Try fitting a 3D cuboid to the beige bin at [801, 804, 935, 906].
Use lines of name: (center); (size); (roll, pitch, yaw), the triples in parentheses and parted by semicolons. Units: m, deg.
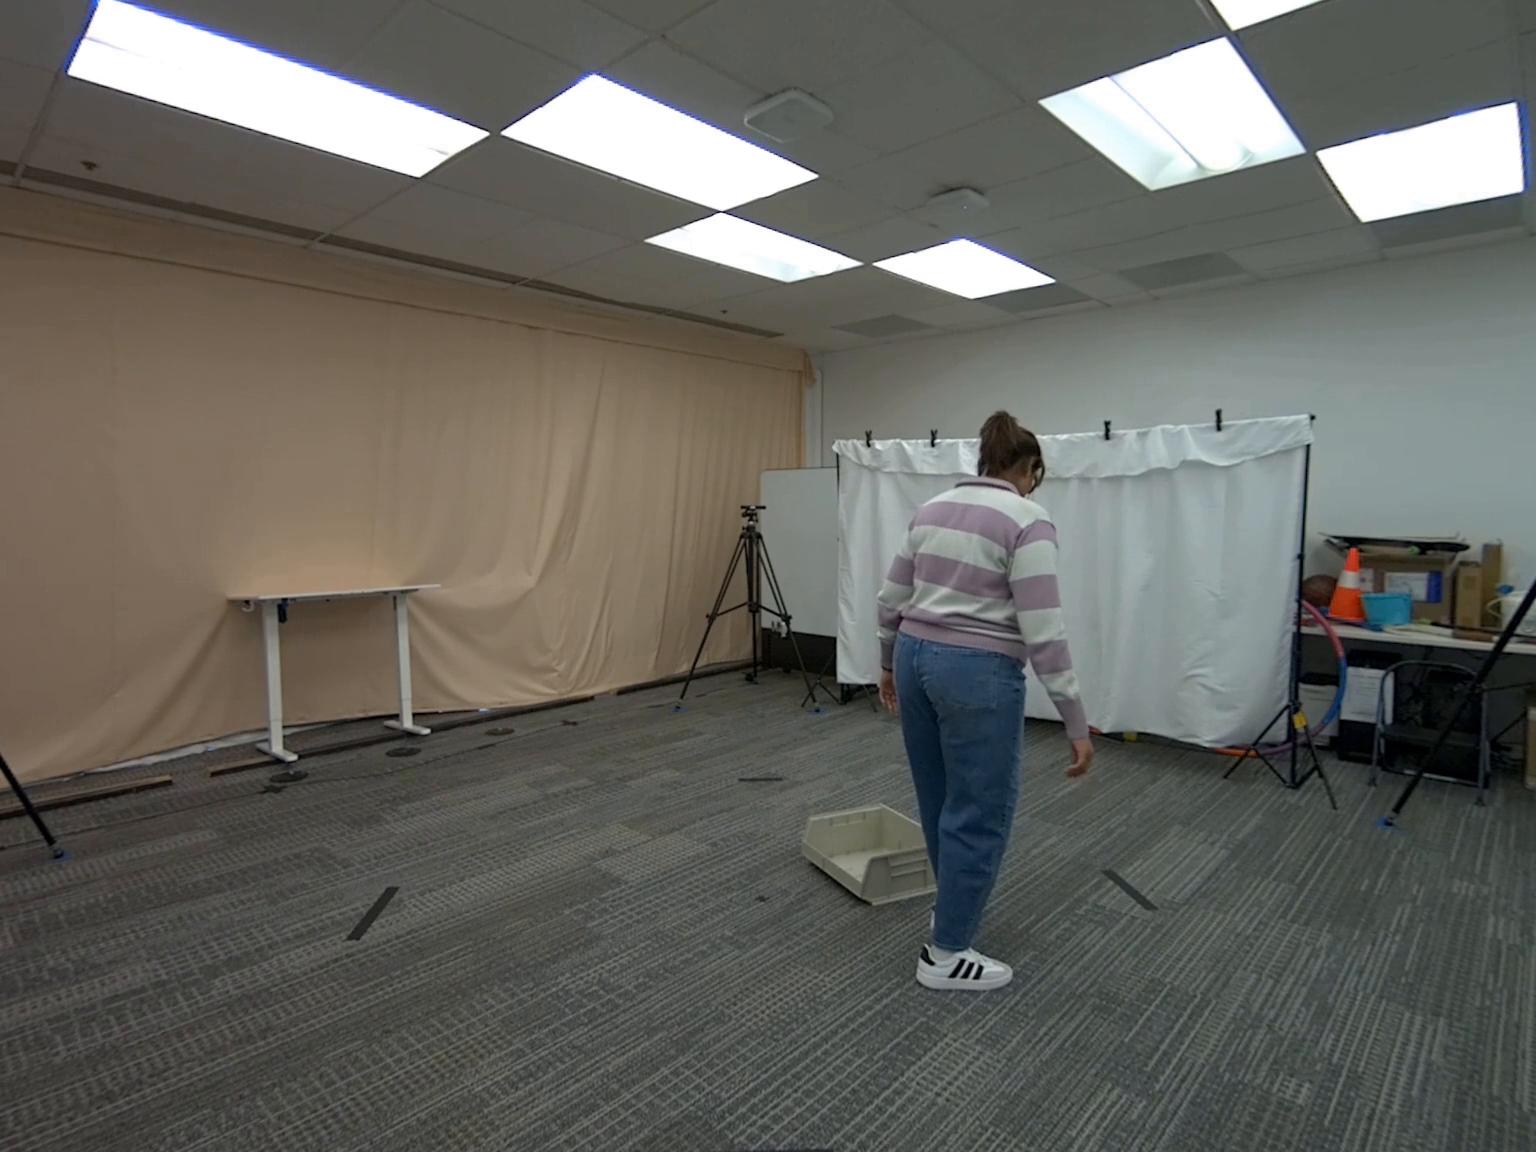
beige bin: (0.396, 1.039, 3.161); (0.368, 0.188, 0.433); (-1, 4, -26)
